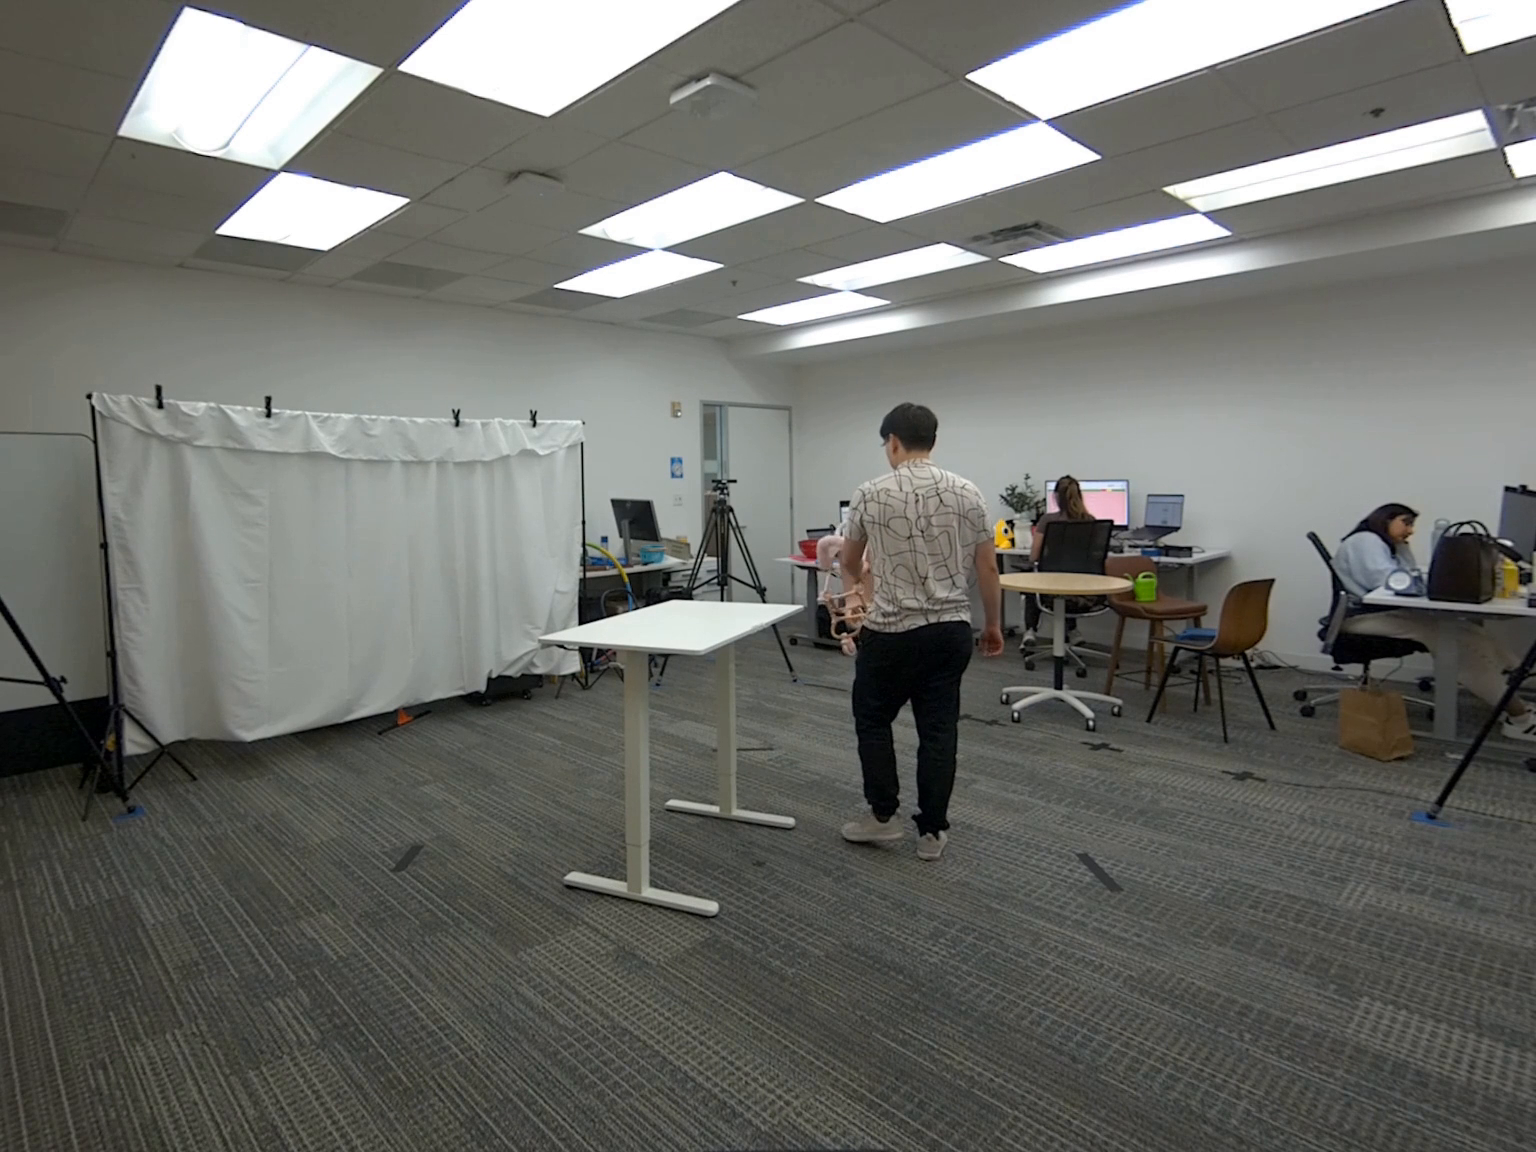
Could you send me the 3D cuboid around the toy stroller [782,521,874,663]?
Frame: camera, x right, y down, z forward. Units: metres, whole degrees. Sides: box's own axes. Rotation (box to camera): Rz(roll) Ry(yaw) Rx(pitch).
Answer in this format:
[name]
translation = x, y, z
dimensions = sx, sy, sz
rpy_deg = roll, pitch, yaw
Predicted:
[toy stroller]
translation = 0.351, 0.049, 3.661
dimensions = 0.335, 0.534, 0.287
rpy_deg = -20, 3, -40
